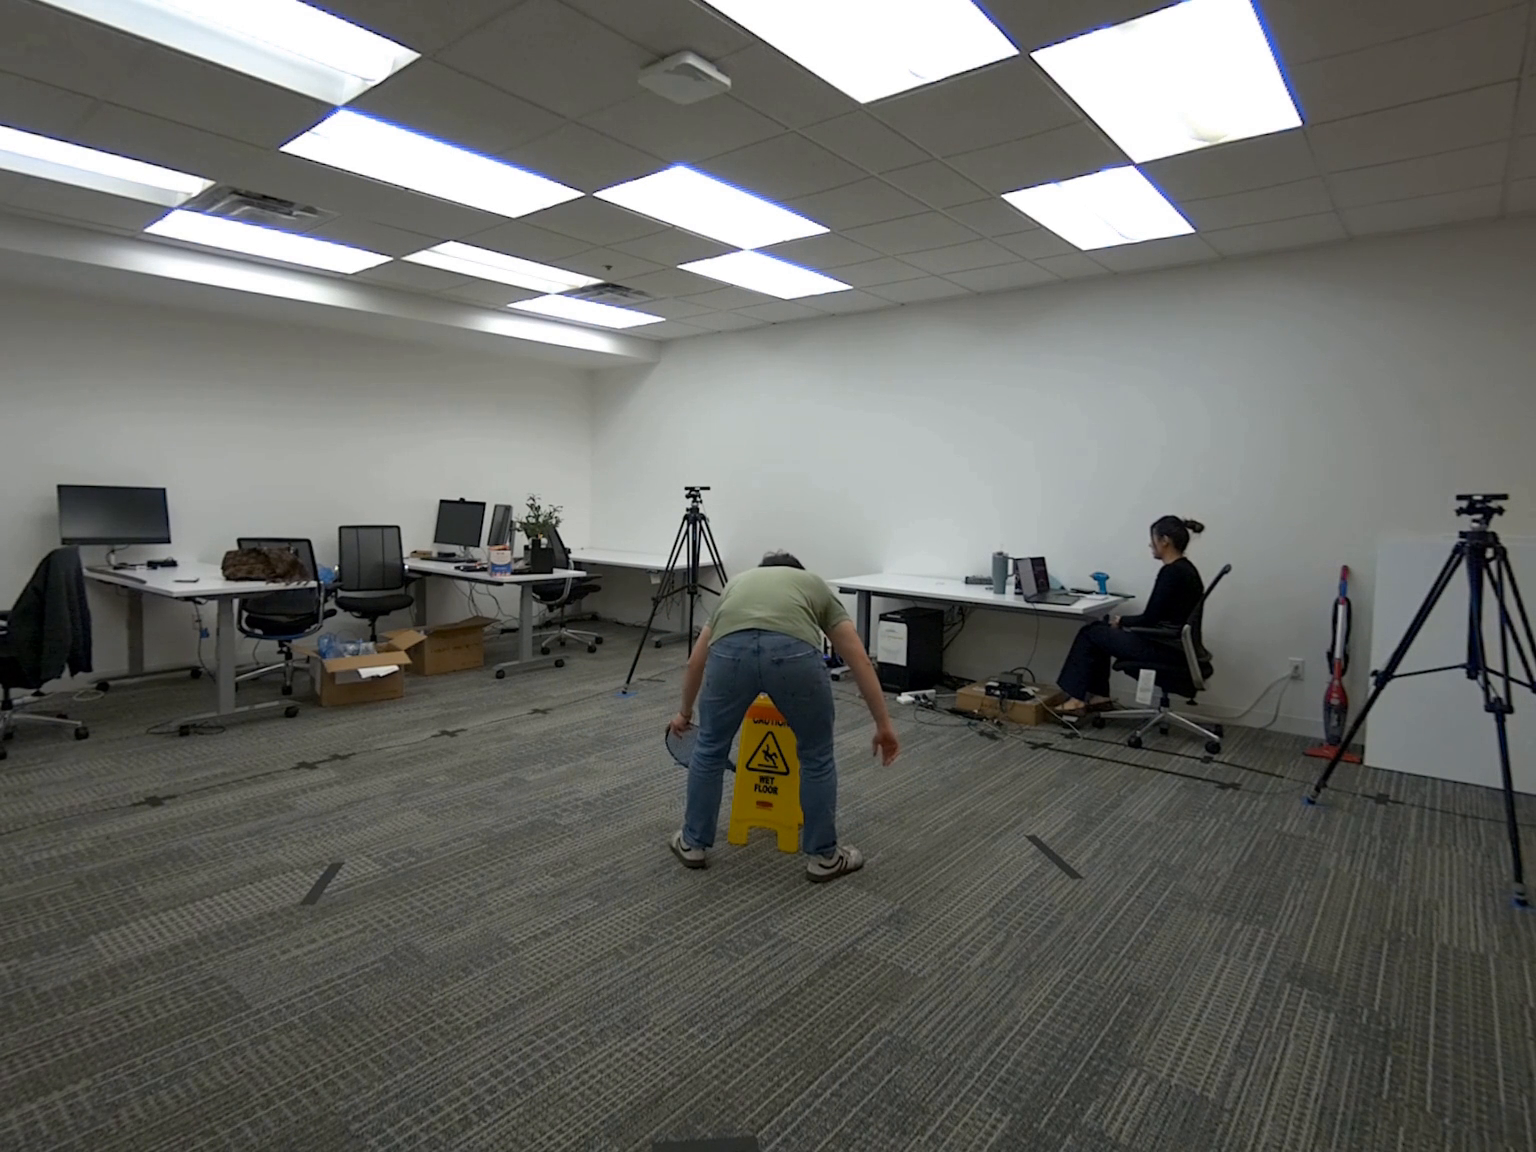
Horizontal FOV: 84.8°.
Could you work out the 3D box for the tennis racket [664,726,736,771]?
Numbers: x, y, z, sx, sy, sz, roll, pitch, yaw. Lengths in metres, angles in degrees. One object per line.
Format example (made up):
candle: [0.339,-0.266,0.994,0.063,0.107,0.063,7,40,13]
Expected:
tennis racket: [-0.247,0.740,3.515,0.438,0.212,0.031,28,18,9]
